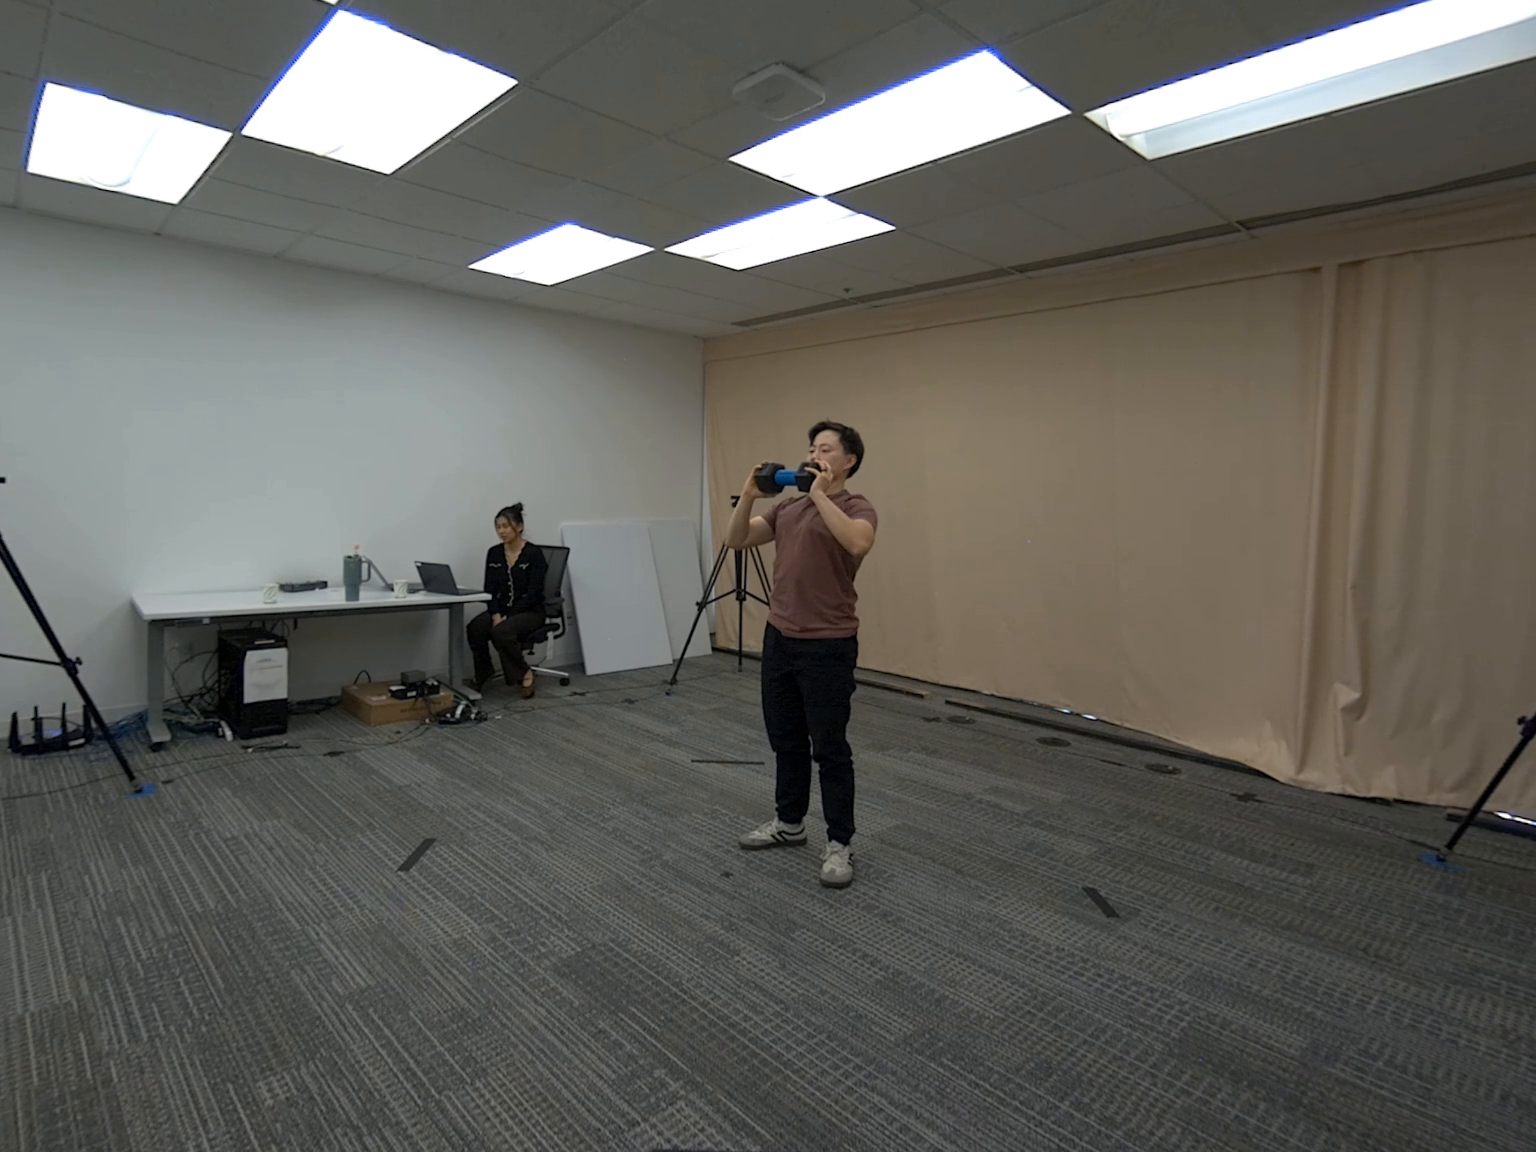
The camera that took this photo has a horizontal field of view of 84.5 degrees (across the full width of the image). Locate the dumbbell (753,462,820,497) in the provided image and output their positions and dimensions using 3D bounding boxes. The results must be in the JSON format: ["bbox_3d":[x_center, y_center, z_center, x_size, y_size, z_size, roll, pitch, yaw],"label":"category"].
[{"bbox_3d":[0.079,-0.374,3.099,0.301,0.123,0.105,8,-28,48],"label":"dumbbell"}]
